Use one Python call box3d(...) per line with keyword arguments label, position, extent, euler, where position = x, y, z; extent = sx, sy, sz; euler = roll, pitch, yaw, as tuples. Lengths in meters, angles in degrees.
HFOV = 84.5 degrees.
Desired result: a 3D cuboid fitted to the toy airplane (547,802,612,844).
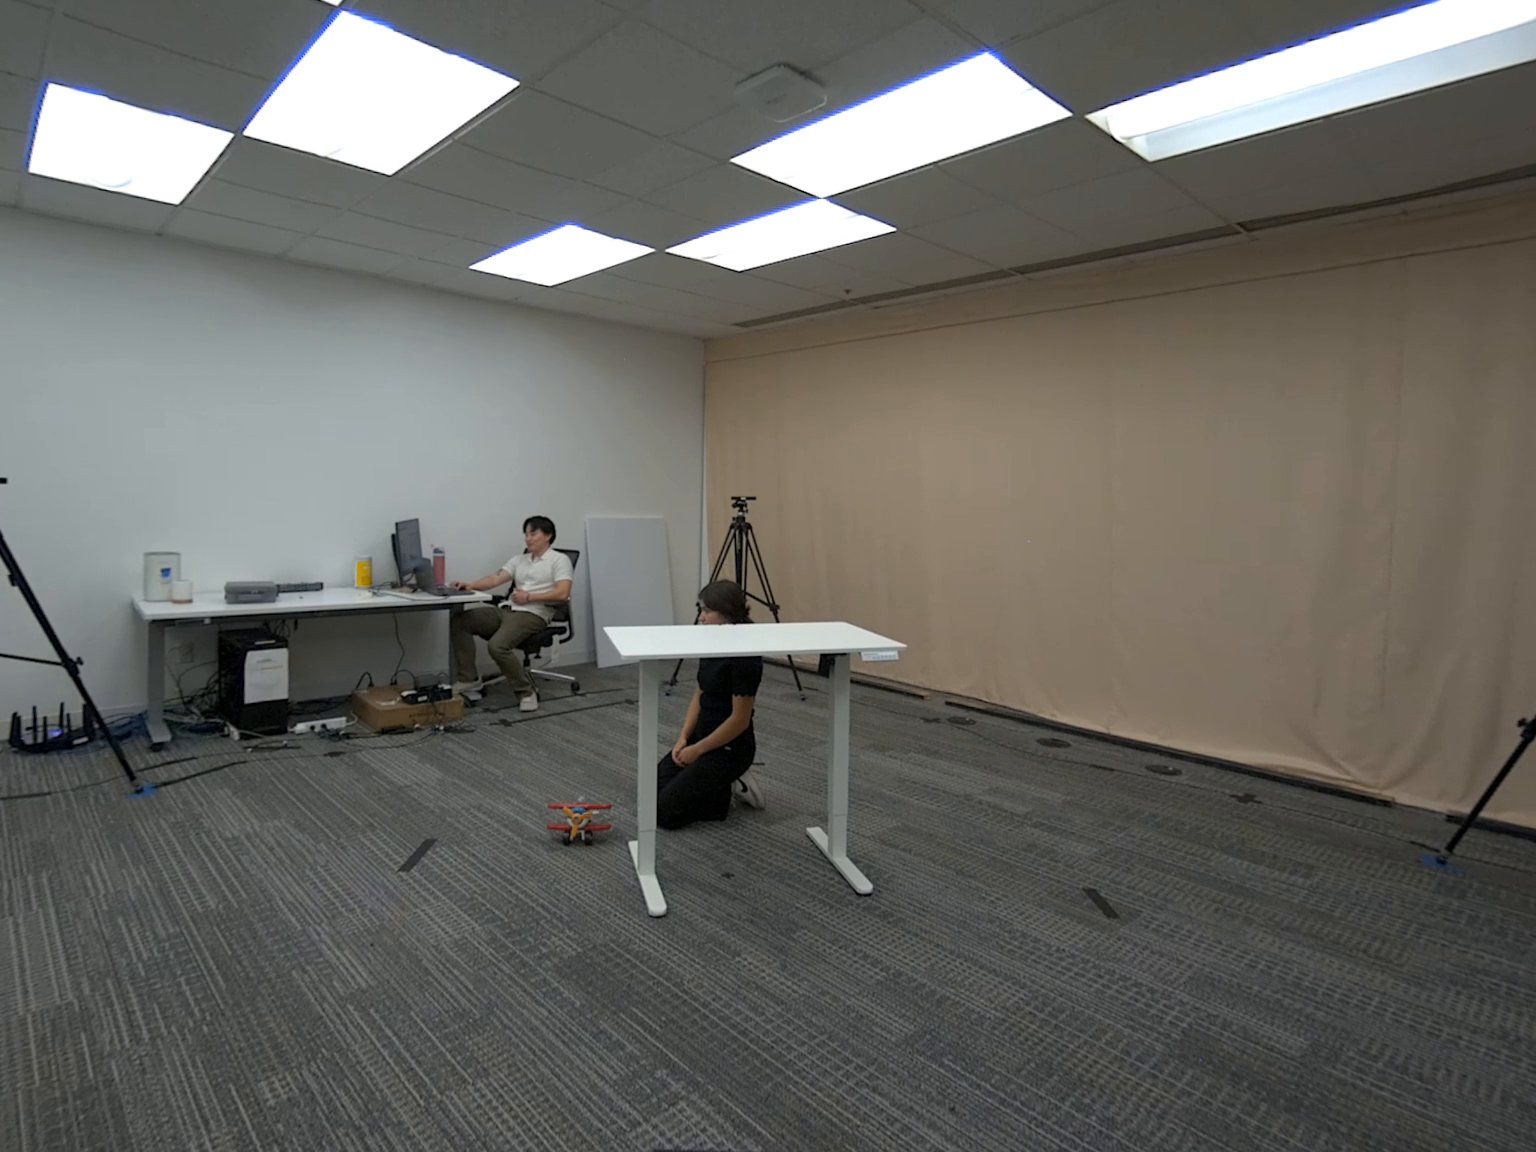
box3d(label="toy airplane", position=(-0.791, 0.987, 3.429), extent=(0.246, 0.156, 0.265), euler=(-2, 6, -31))
